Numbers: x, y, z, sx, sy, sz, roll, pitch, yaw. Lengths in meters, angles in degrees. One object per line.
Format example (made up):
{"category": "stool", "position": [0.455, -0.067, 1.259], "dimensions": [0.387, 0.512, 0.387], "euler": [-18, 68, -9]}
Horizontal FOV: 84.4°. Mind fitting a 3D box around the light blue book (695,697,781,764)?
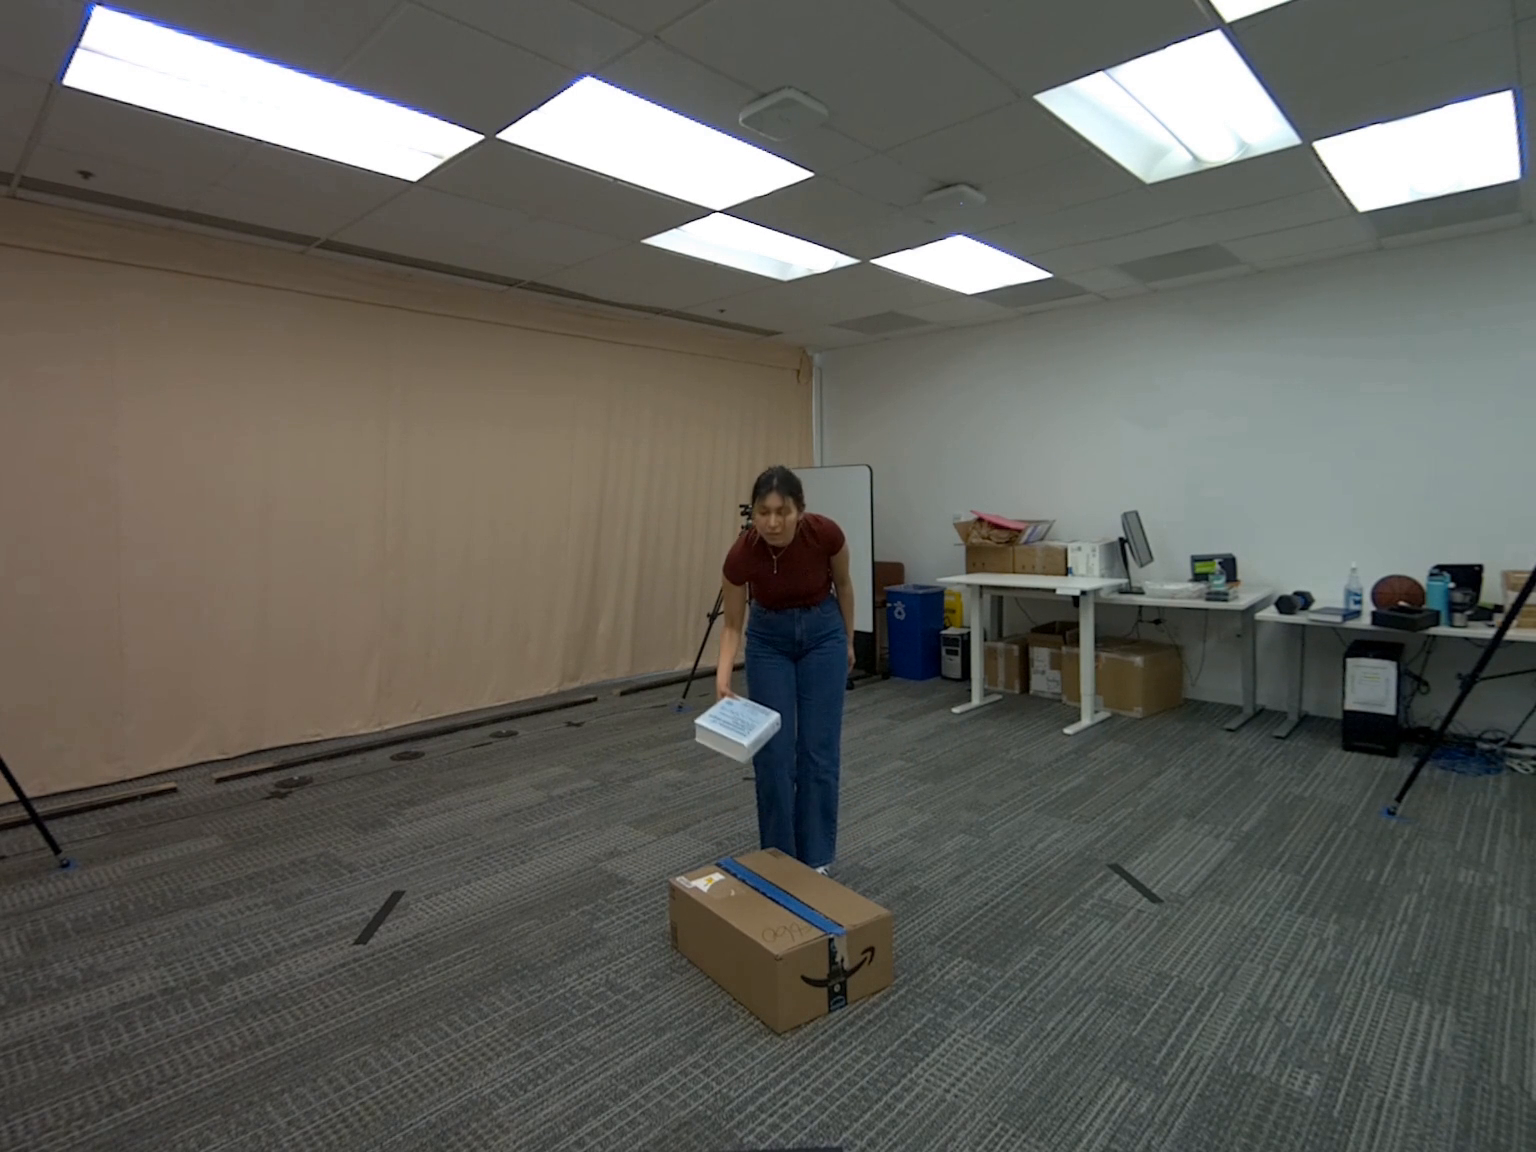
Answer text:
{"category": "light blue book", "position": [-0.079, 0.479, 2.709], "dimensions": [0.195, 0.058, 0.258], "euler": [15, 19, 15]}
